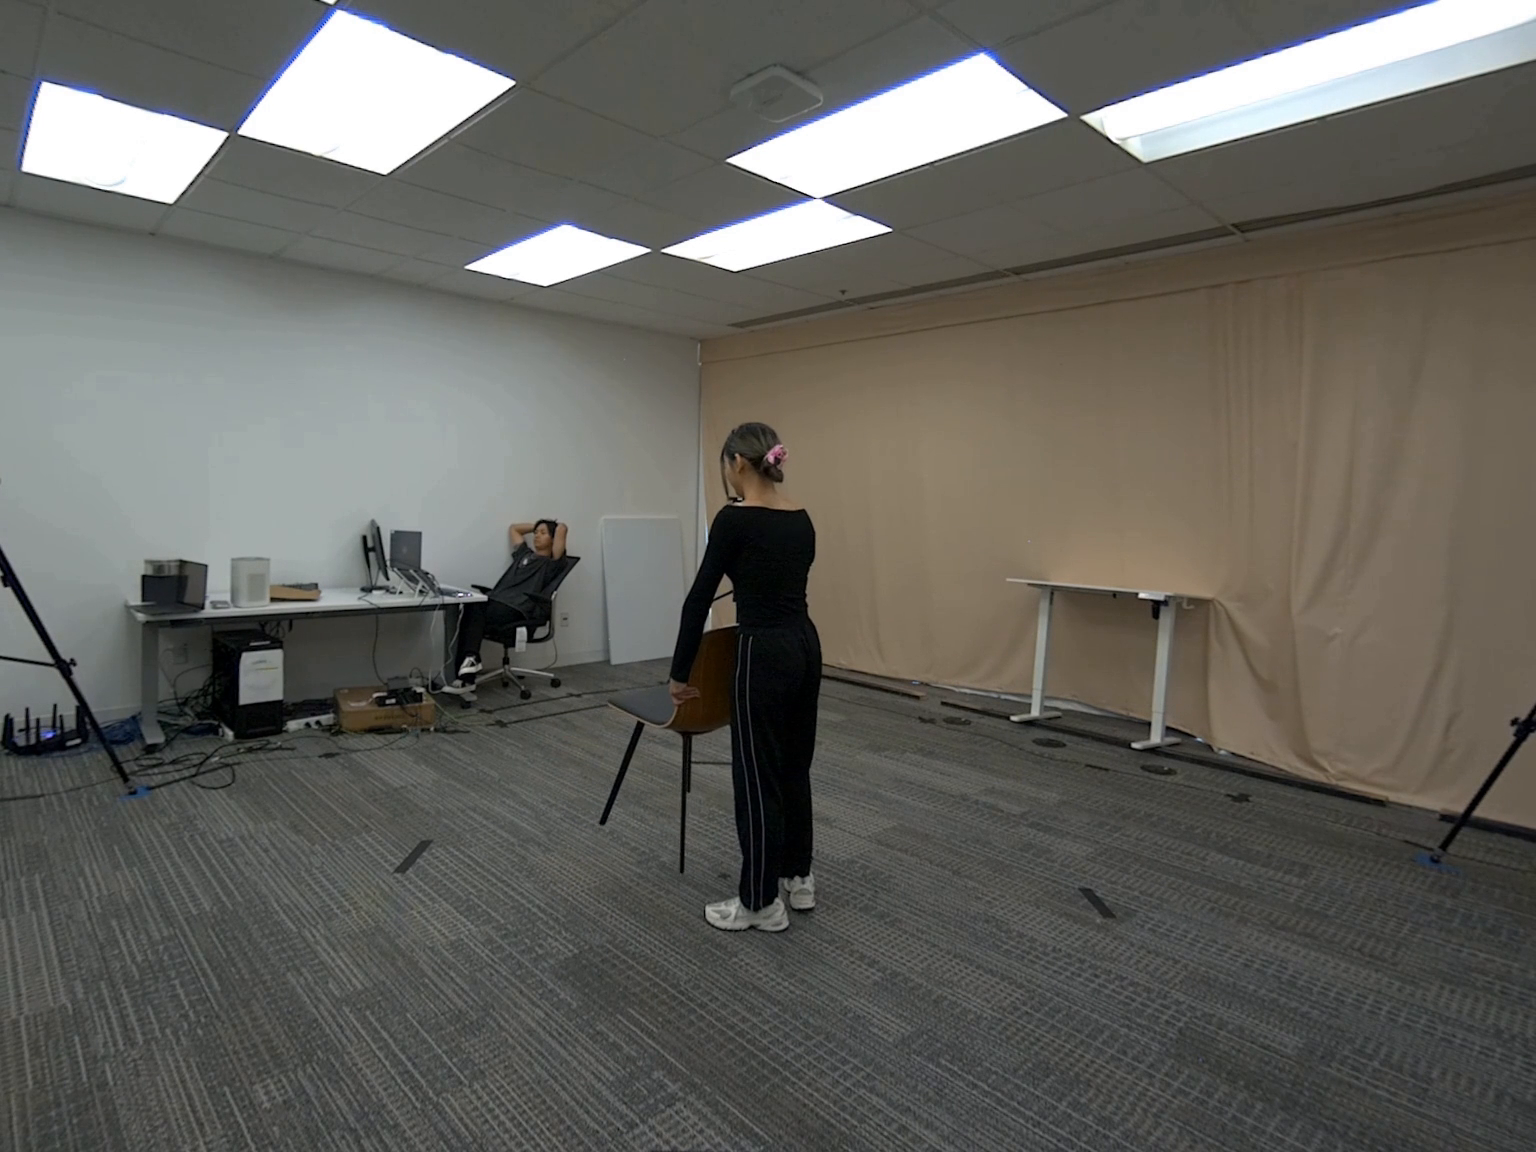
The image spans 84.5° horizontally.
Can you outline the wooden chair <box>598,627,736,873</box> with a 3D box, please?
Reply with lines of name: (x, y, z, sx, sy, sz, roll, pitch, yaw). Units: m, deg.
wooden chair: (-0.296, 0.520, 3.057, 0.538, 0.870, 0.468, 17, 16, 40)
